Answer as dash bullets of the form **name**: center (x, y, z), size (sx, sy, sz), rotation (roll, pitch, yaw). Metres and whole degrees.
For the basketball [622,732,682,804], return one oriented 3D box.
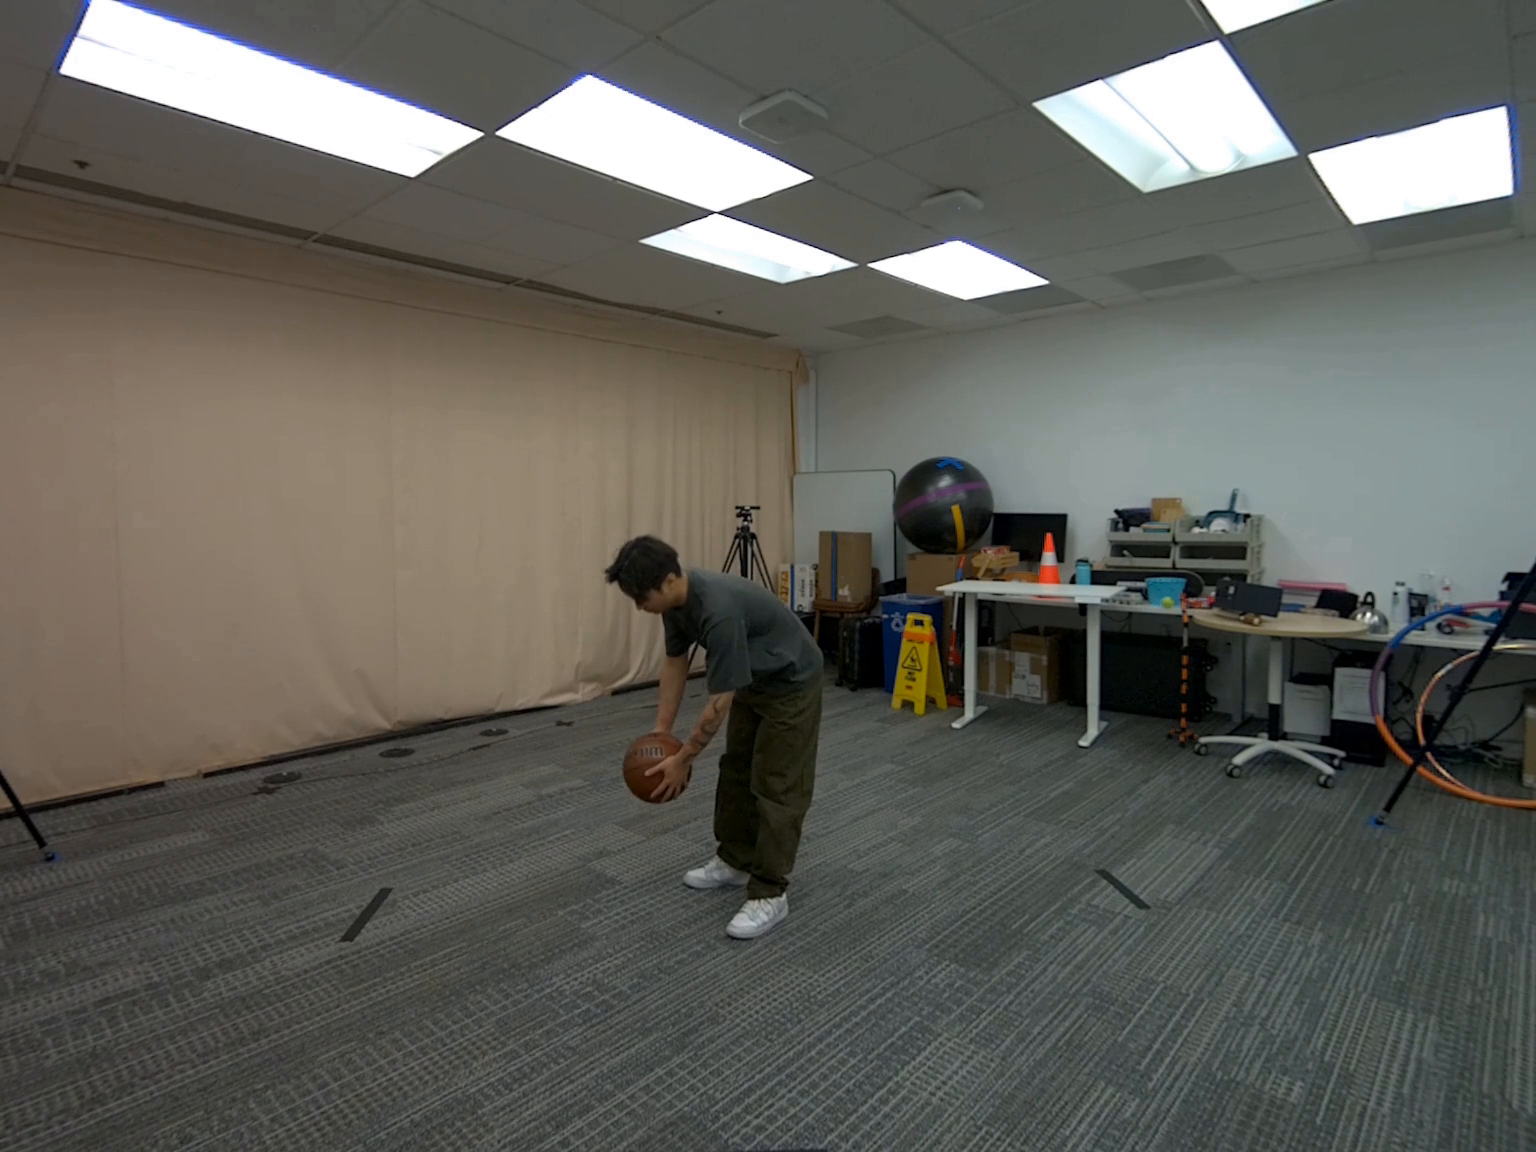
- **basketball**: center (-0.377, 0.662, 2.892), size (0.236, 0.235, 0.237), rotation (0, 4, -2)
